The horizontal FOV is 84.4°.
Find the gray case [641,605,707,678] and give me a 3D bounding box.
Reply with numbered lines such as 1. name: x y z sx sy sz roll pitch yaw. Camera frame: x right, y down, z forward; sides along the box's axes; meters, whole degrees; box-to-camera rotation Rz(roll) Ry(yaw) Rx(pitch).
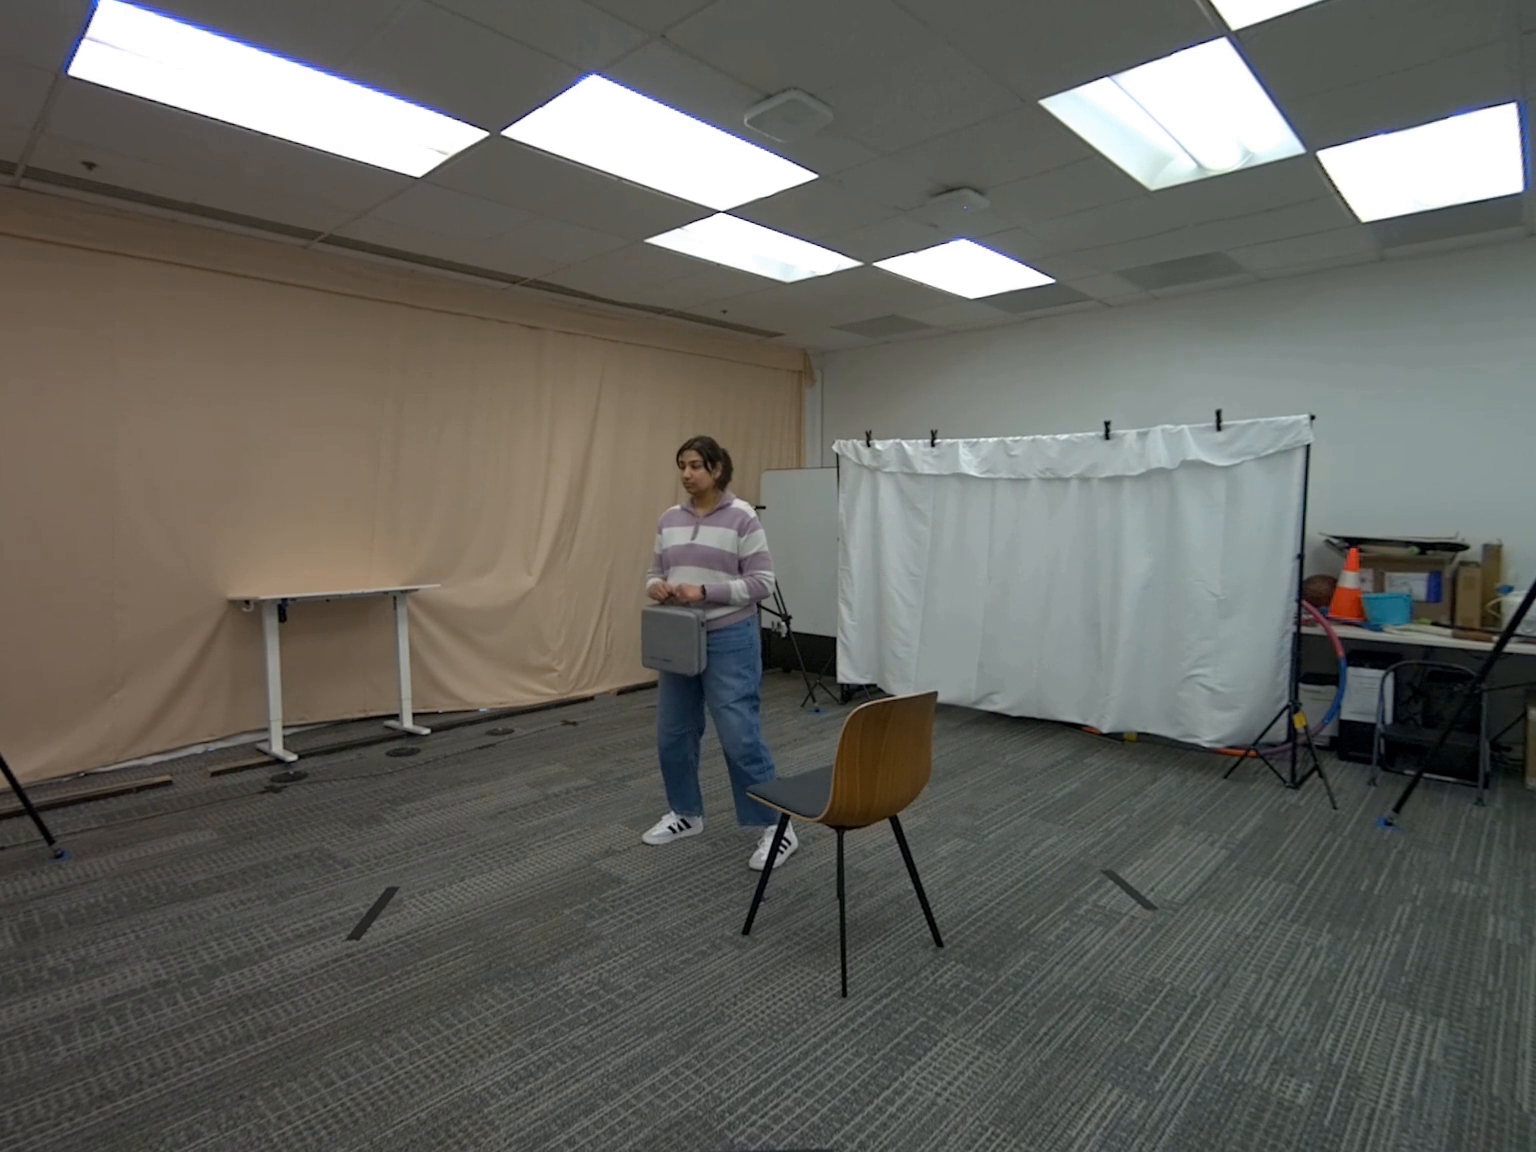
1. gray case: -0.362 0.235 3.242 0.264 0.259 0.102 7 11 26
